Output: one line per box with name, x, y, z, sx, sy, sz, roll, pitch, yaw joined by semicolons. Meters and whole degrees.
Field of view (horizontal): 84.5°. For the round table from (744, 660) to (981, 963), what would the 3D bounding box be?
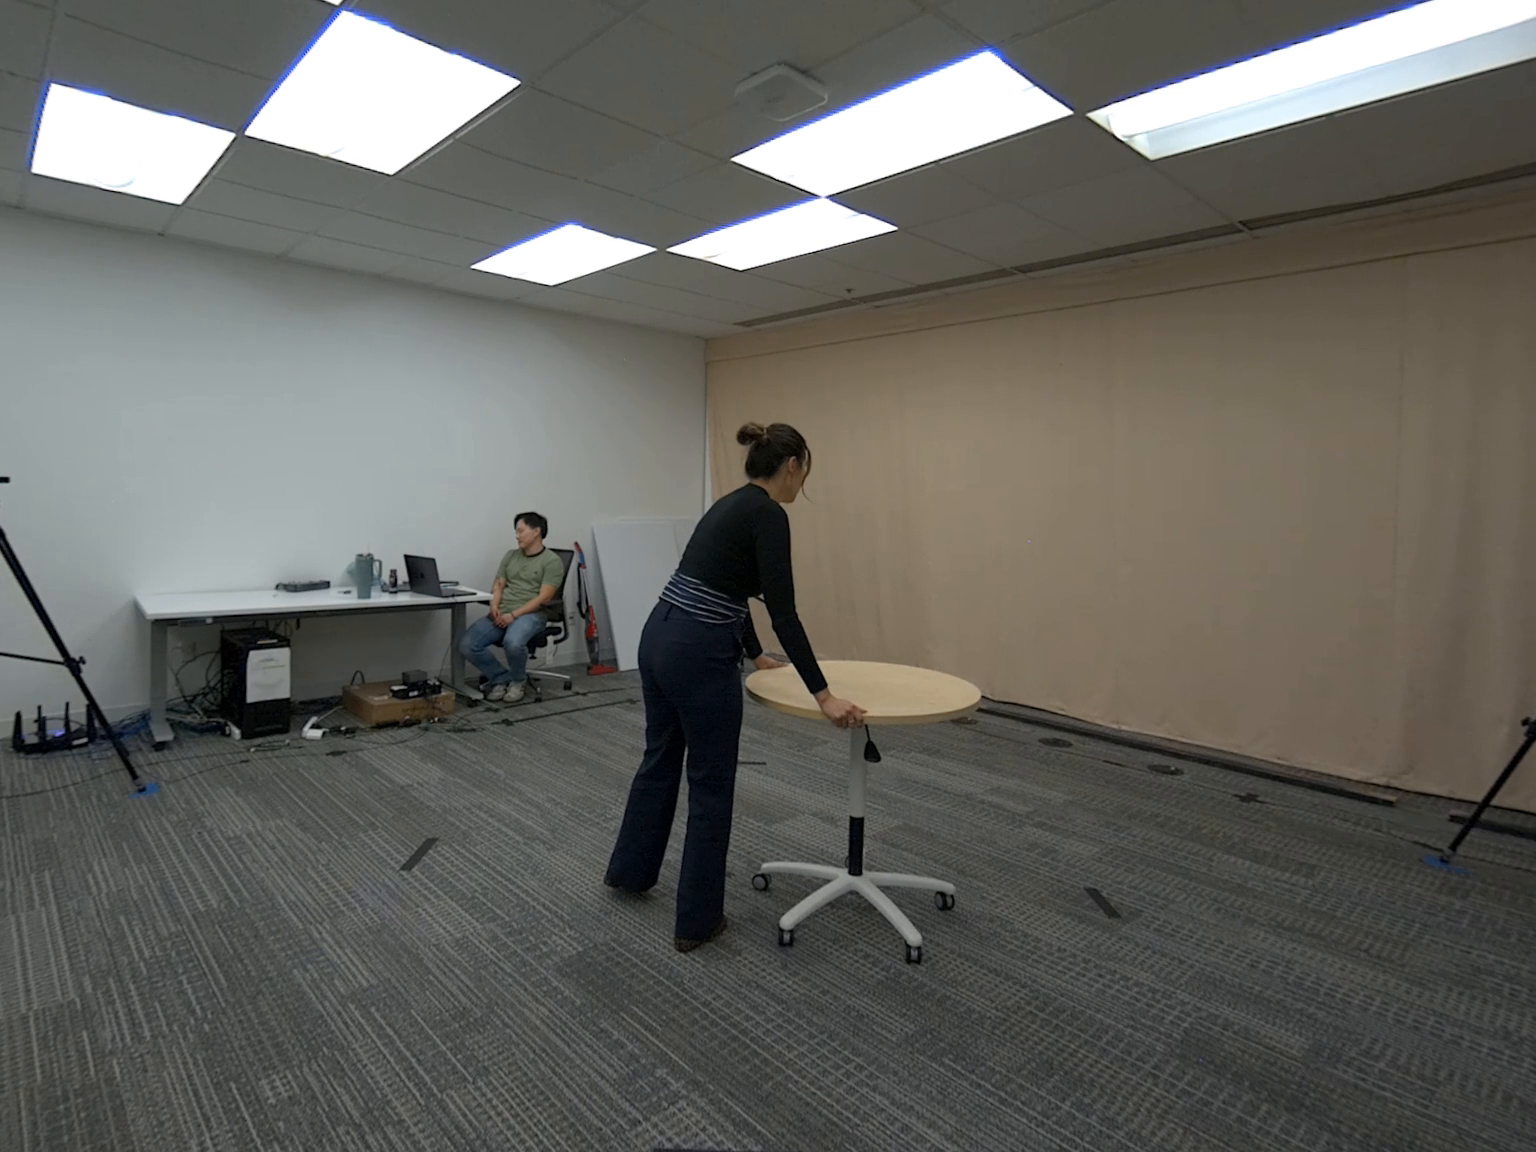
round table;0.282;0.751;2.820;0.763;0.792;0.767;1;4;-1
